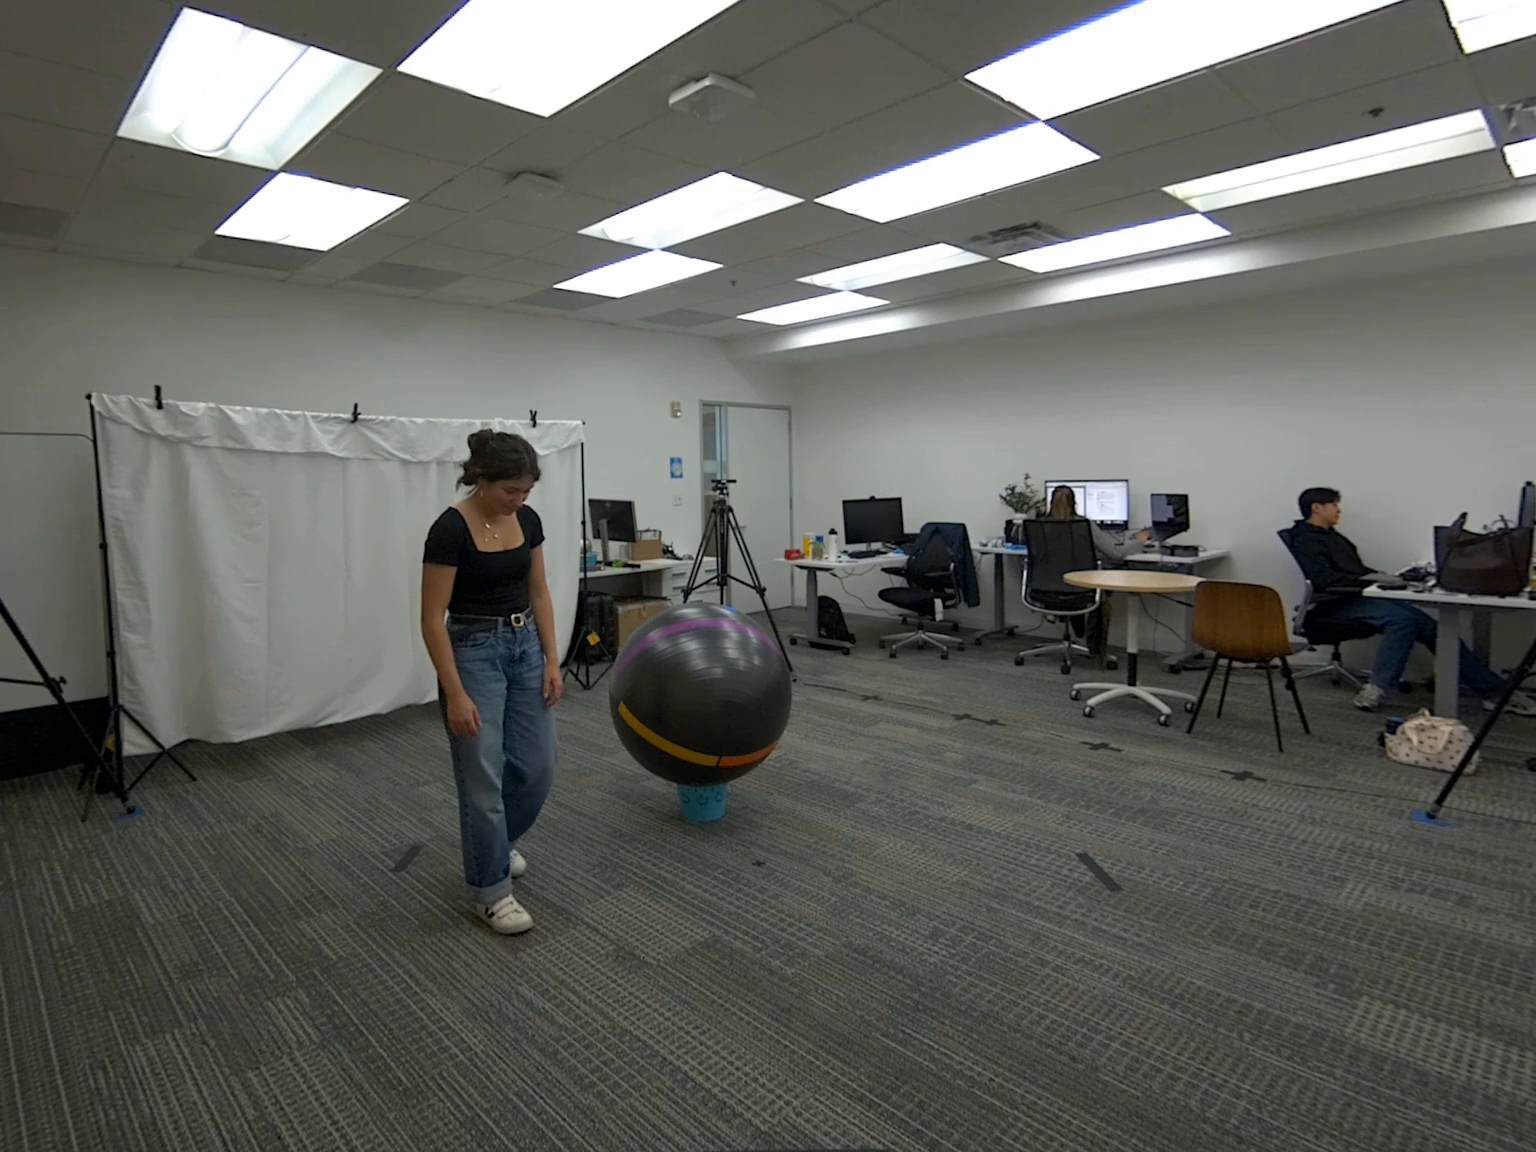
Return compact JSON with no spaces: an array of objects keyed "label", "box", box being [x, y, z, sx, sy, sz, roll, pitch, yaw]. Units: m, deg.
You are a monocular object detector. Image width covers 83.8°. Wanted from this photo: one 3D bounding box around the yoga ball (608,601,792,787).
[{"label":"yoga ball","box":[-0.283,0.494,3.573,0.757,0.755,0.762,-1,5,-2]}]
